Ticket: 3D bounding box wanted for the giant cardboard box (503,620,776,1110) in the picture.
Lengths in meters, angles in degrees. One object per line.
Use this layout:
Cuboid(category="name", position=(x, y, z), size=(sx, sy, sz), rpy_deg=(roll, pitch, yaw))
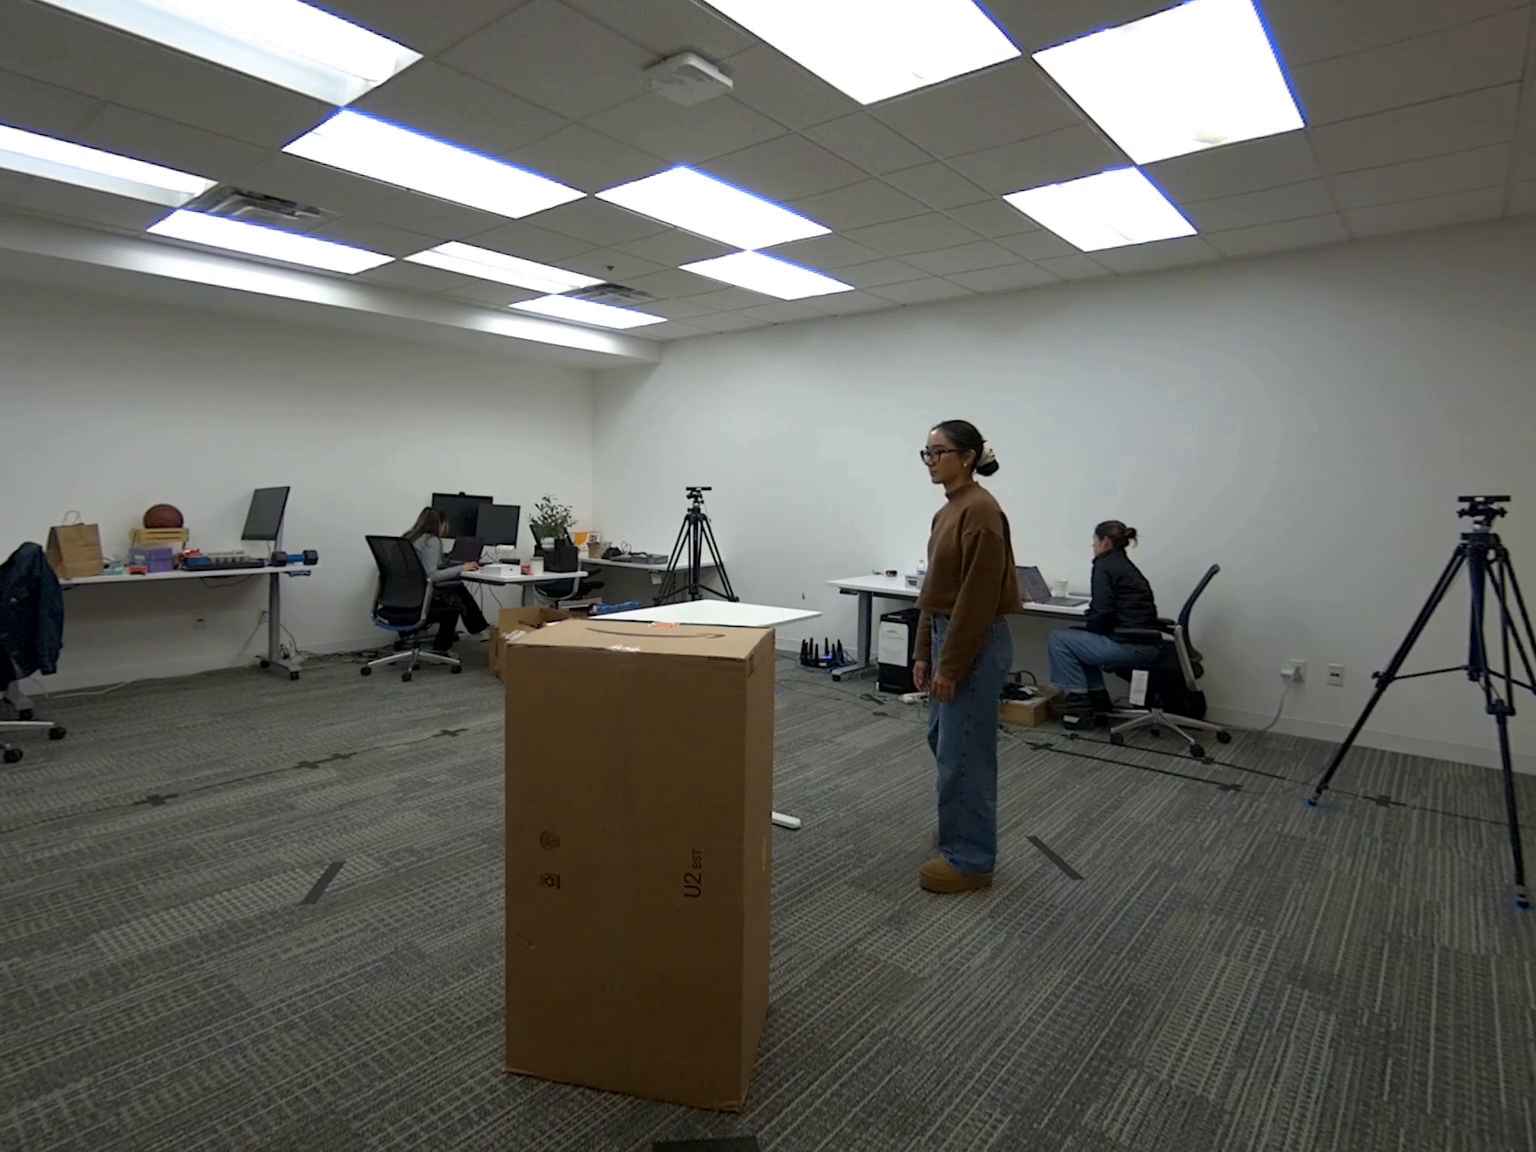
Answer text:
Cuboid(category="giant cardboard box", position=(-0.310, 0.654, 2.127), size=(0.585, 1.023, 0.422), rpy_deg=(2, 3, 11))
